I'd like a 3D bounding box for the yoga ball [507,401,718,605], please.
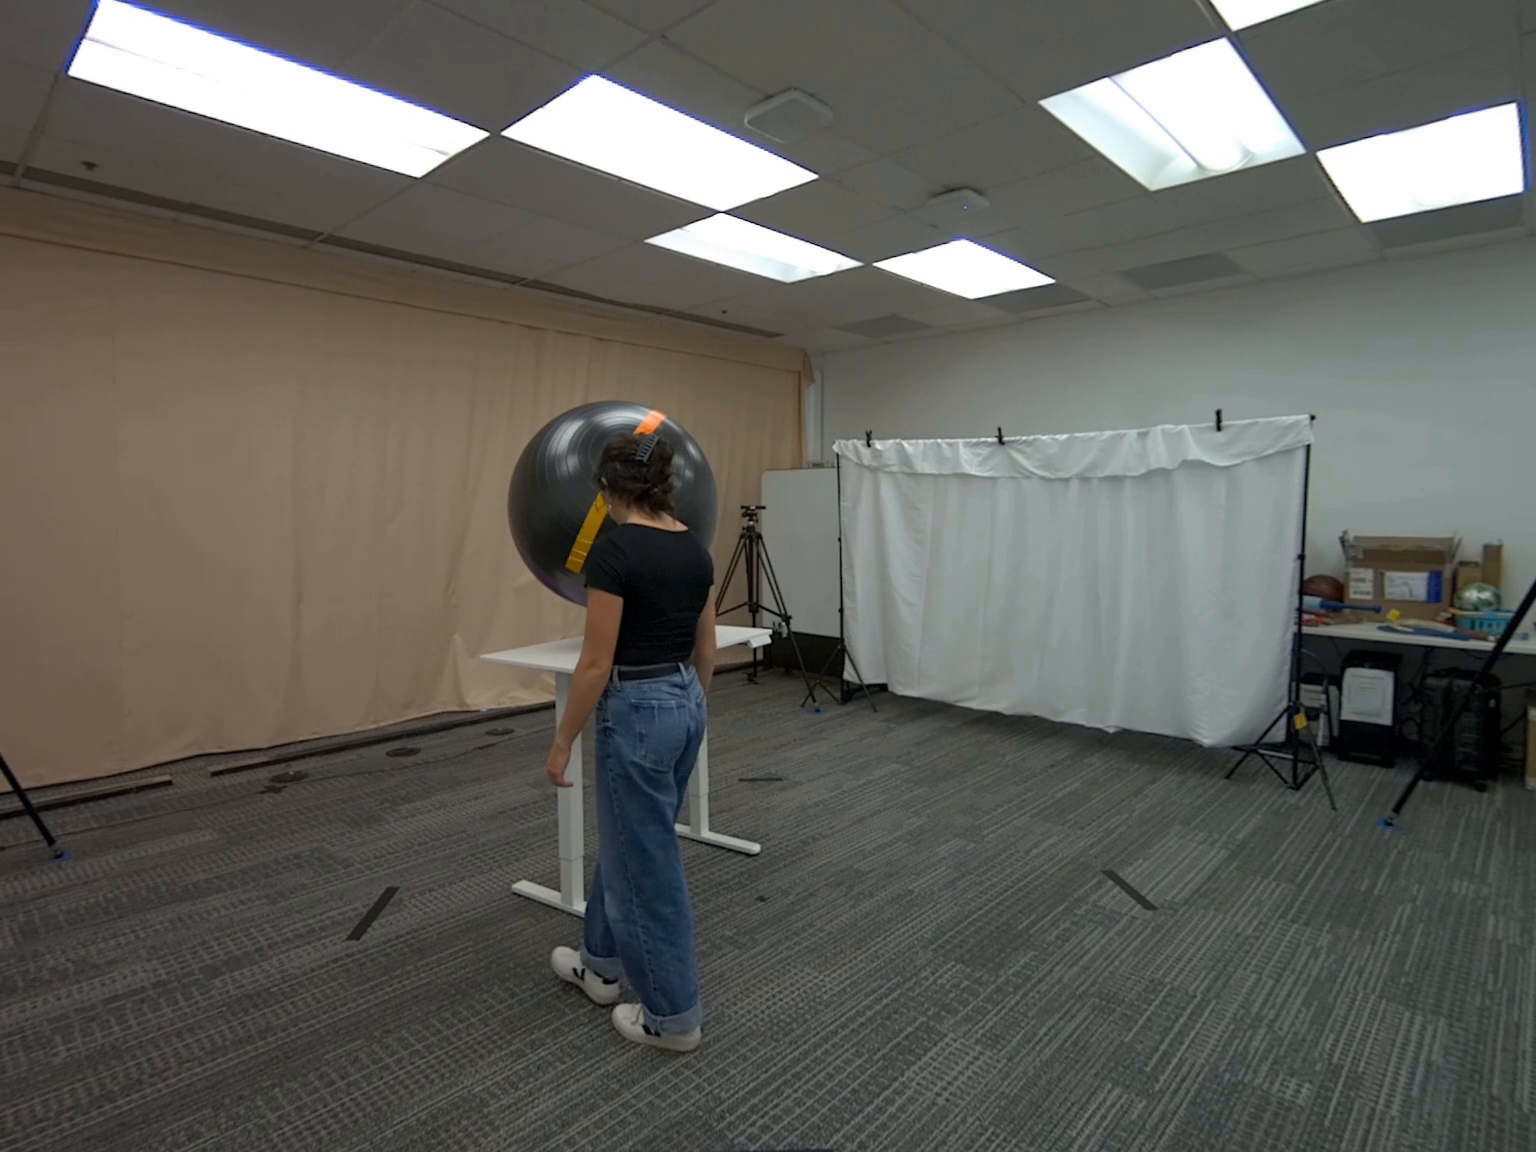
[{"bbox_3d":[-0.561,-0.249,3.066,0.757,0.756,0.760,0,4,-2],"label":"yoga ball"}]
